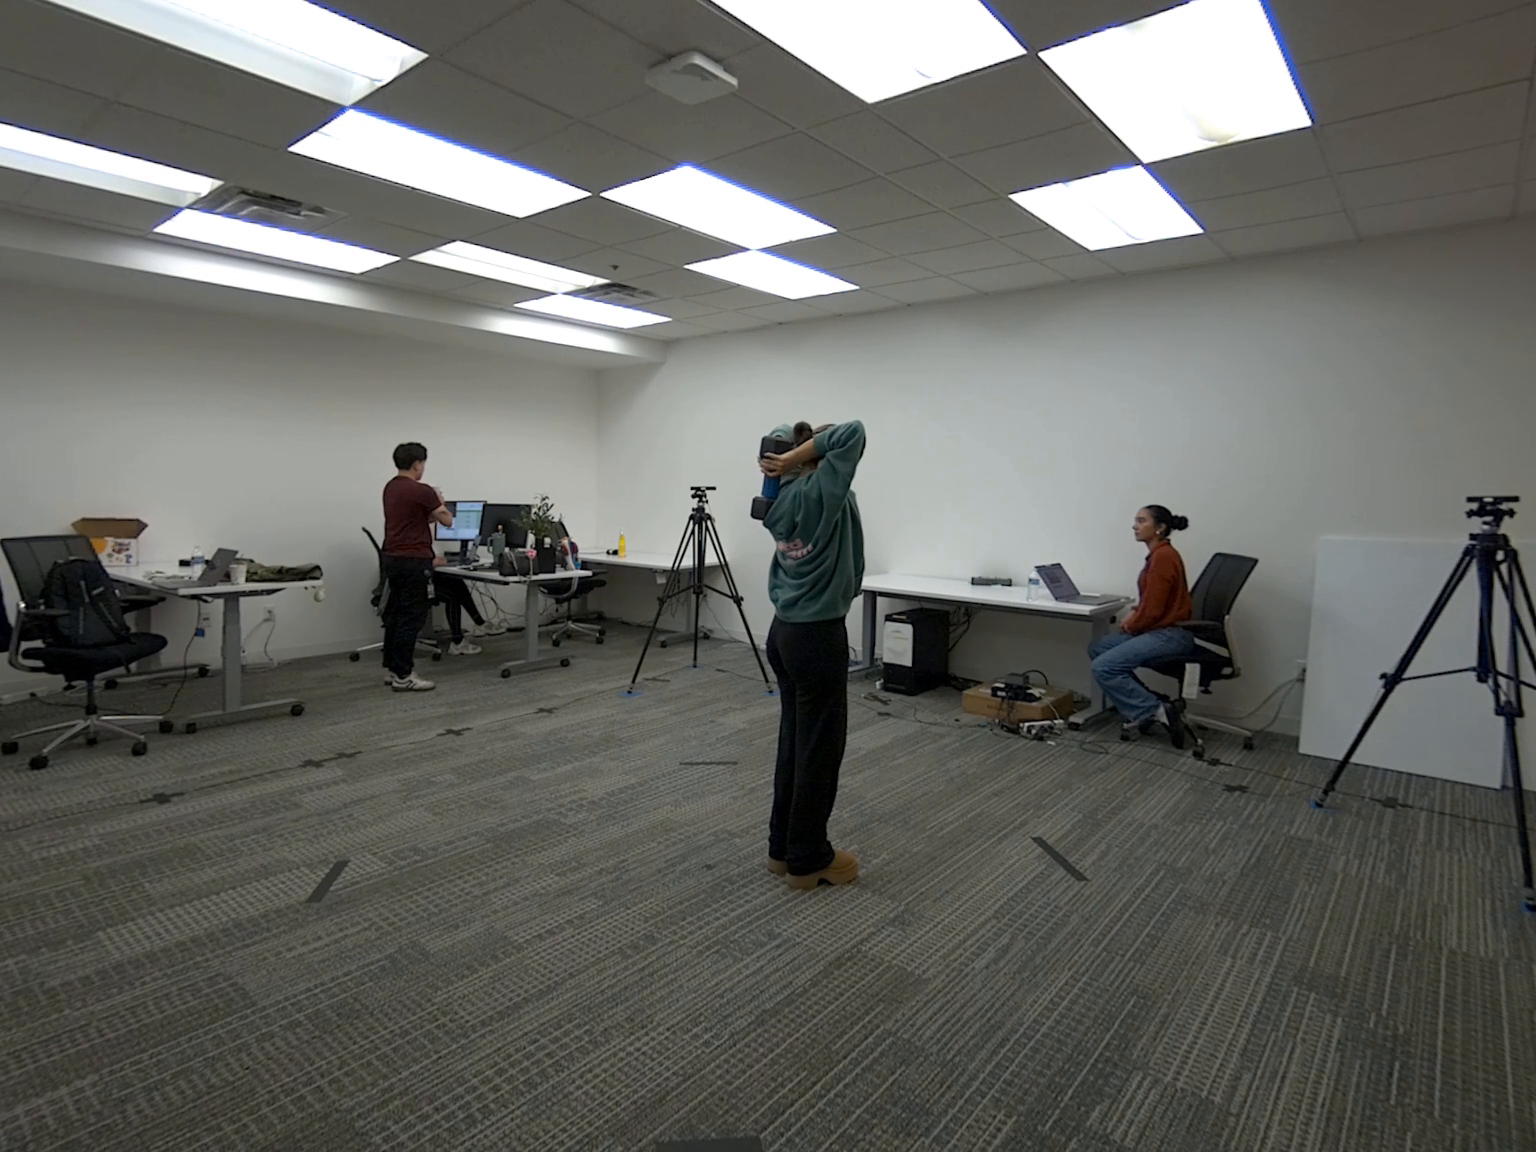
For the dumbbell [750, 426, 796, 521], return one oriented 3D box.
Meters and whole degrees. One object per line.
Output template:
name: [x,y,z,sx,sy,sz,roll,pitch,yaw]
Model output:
dumbbell: [0.009,-0.342,2.963,0.119,0.293,0.112,8,2,-30]
